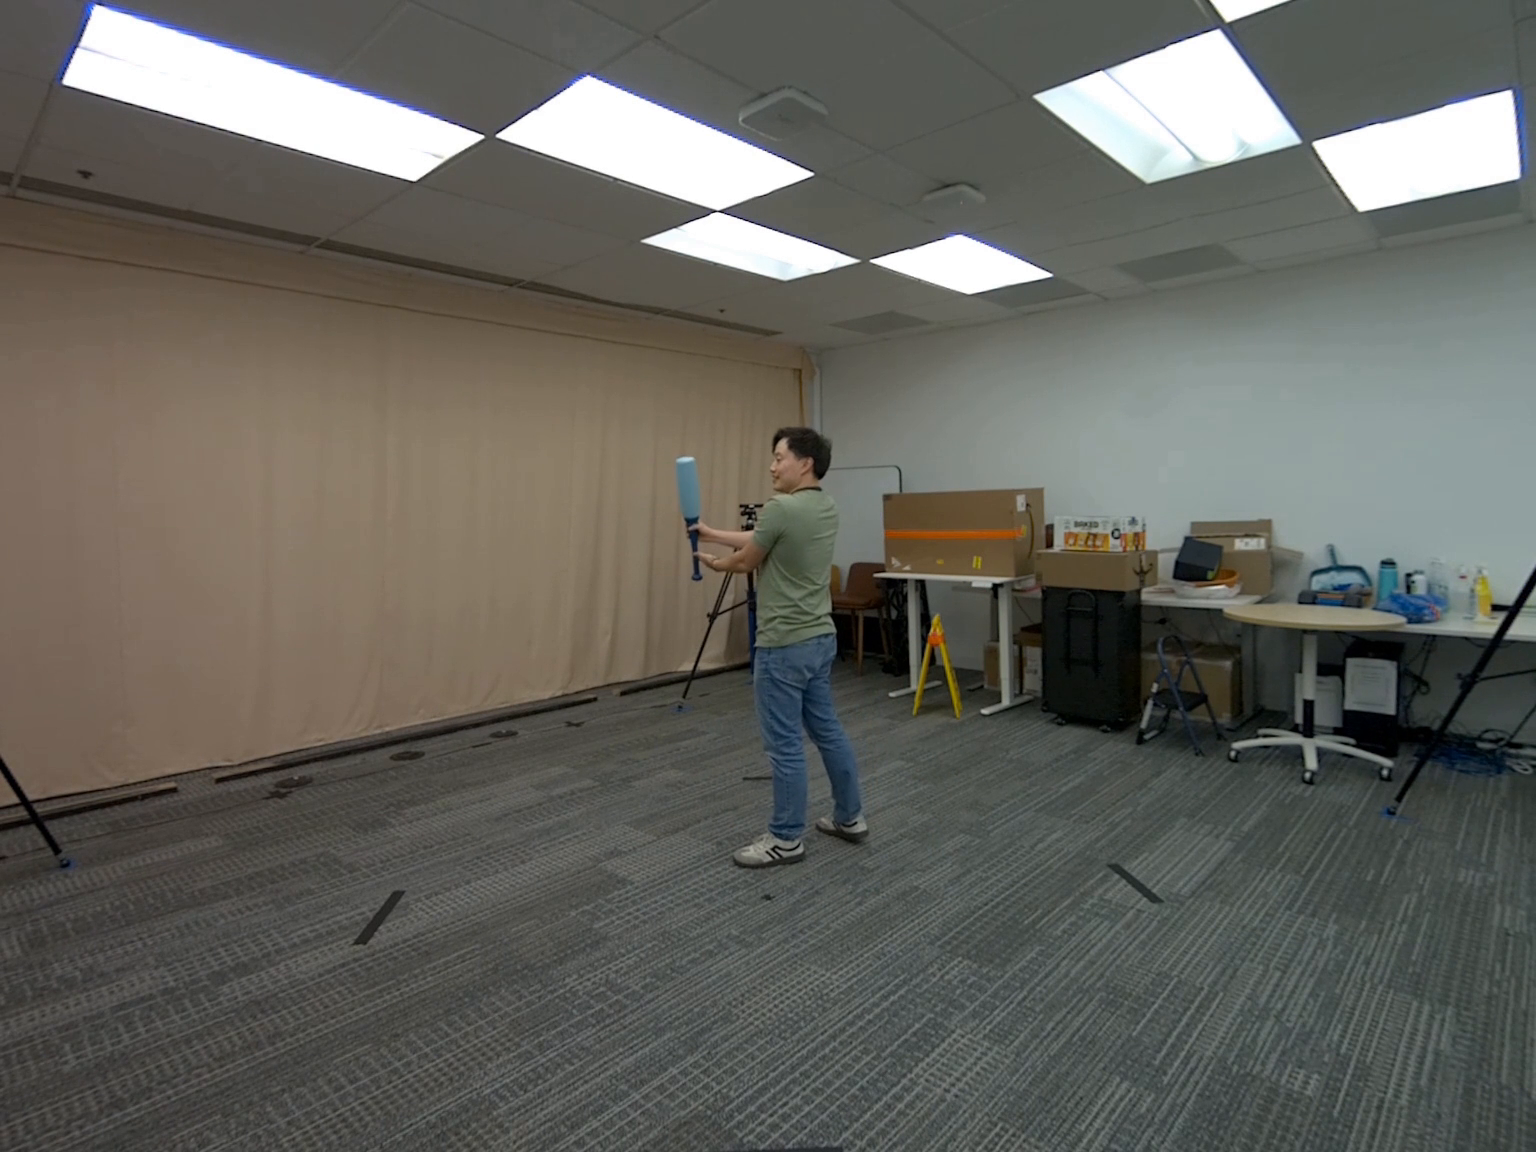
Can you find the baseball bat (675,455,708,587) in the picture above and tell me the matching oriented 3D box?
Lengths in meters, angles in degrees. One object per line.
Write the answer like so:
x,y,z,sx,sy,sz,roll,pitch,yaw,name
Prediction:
-0.324,-0.232,3.580,0.089,0.536,0.090,-3,17,-1,baseball bat
